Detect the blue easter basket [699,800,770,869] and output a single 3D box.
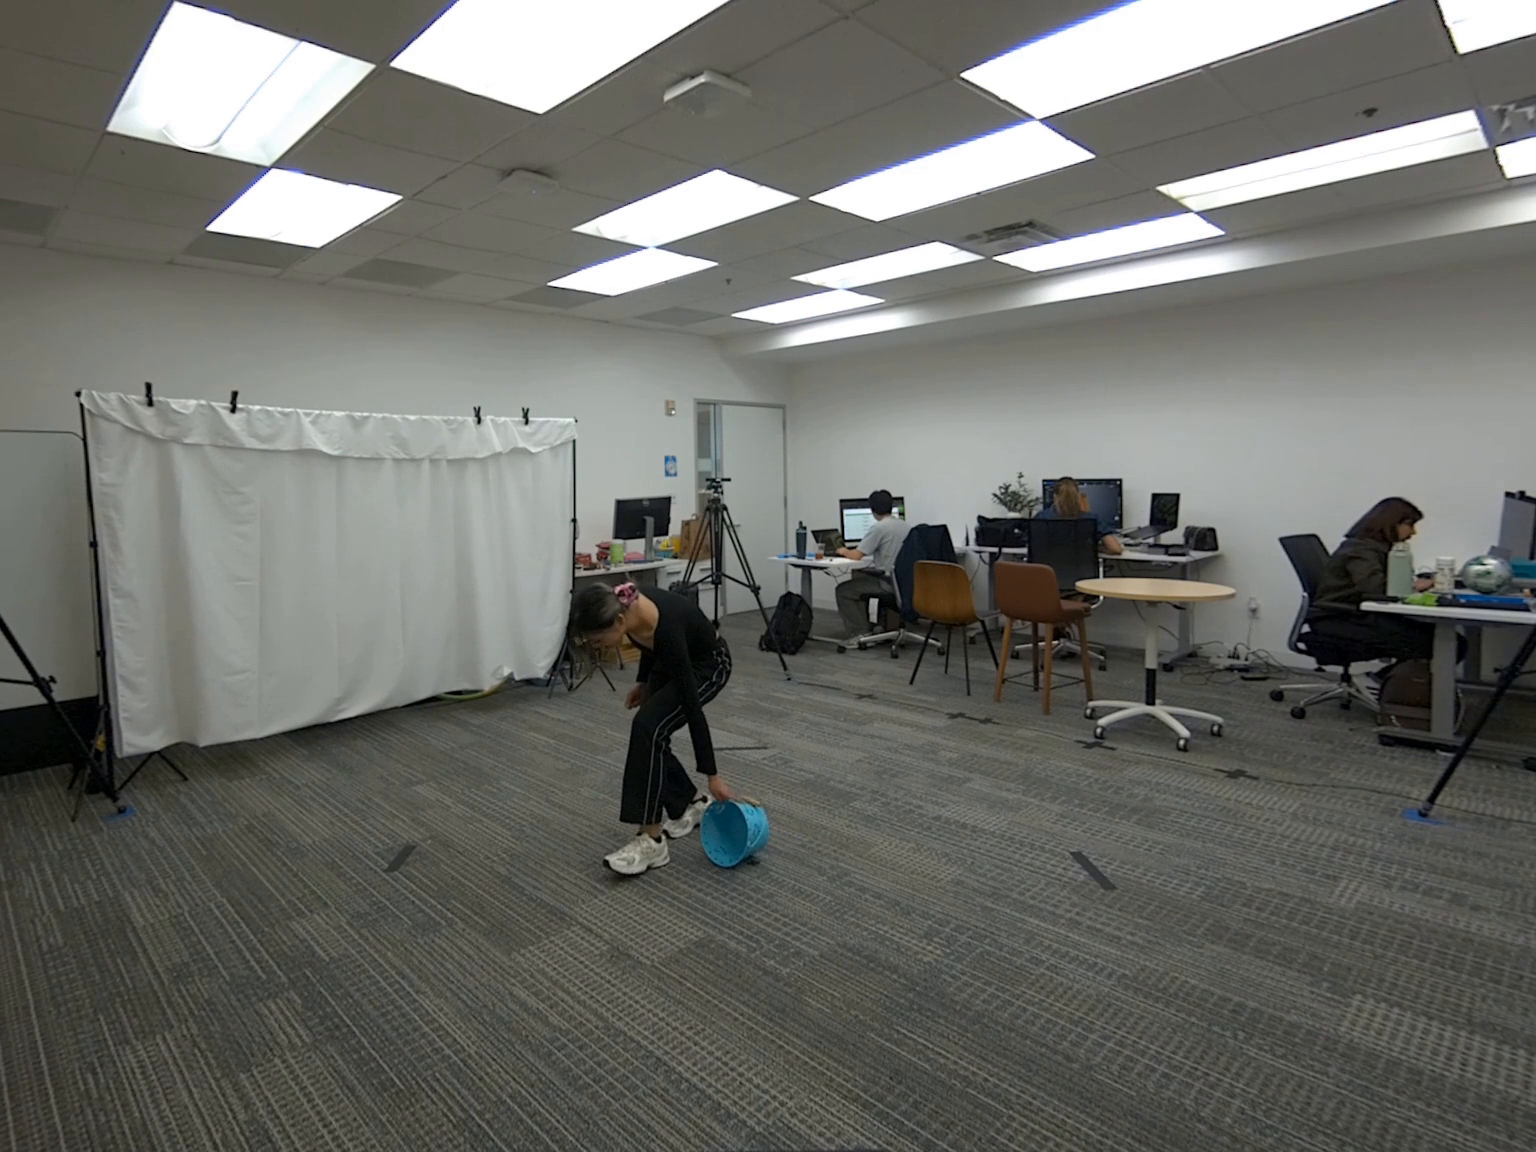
[{"bbox_3d":[-0.108,0.926,3.129,0.251,0.244,0.151,3,-6,38],"label":"blue easter basket"}]
